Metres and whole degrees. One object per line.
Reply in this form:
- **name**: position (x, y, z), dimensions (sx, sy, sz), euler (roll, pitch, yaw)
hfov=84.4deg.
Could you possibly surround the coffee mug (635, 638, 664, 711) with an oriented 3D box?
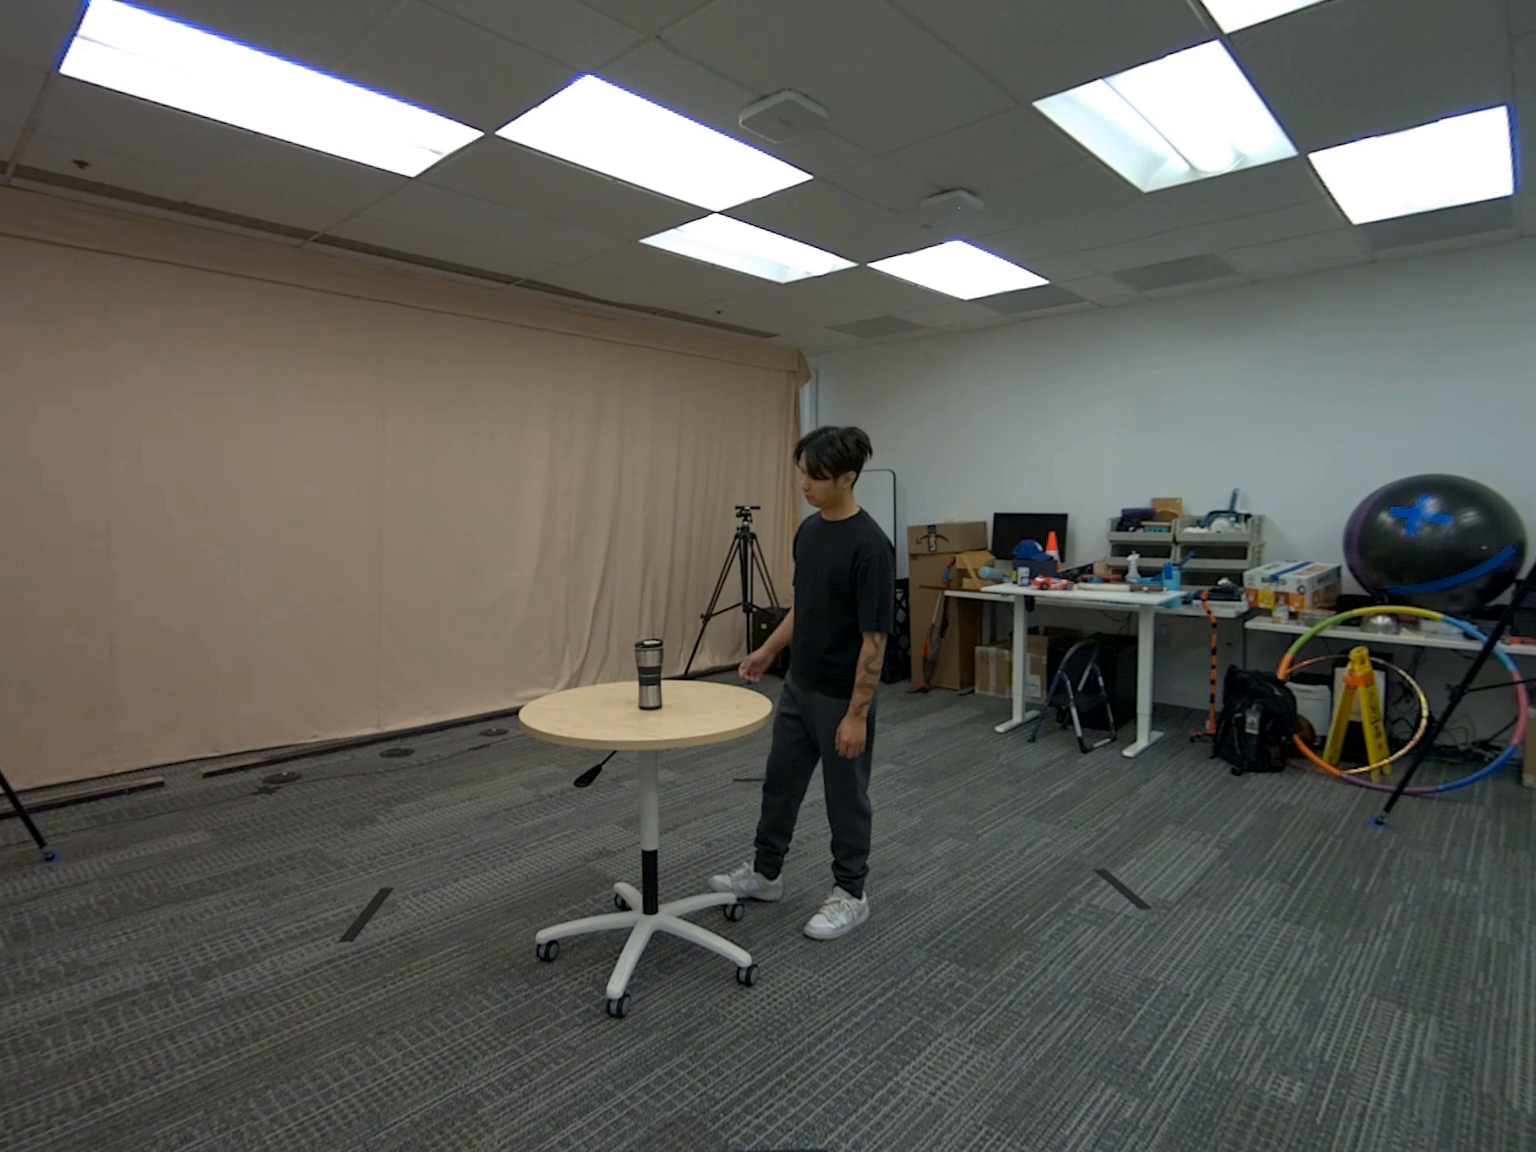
- **coffee mug**: position (-0.342, 0.301, 2.561), dimensions (0.090, 0.202, 0.118), euler (-2, 4, 39)
